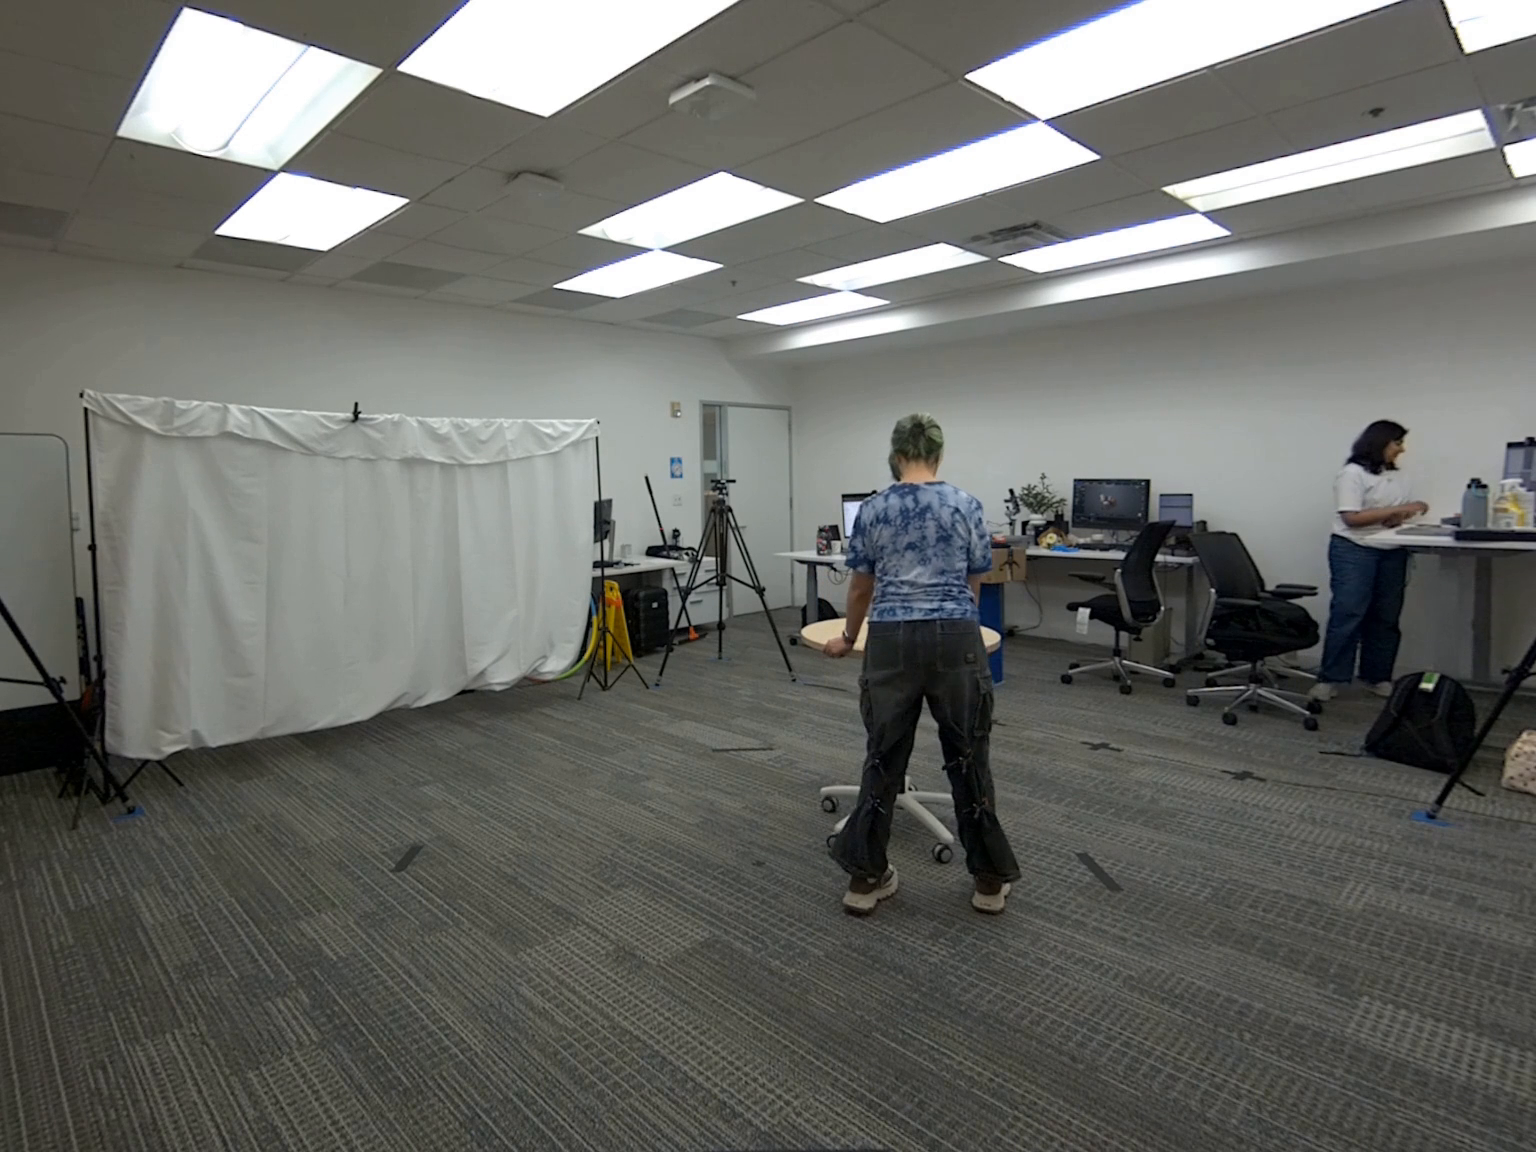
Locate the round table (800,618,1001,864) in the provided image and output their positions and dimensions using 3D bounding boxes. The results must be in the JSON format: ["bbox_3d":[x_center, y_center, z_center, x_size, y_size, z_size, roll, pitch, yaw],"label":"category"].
[{"bbox_3d":[0.525,0.617,3.399,0.763,0.791,0.768,-1,5,-2],"label":"round table"}]
